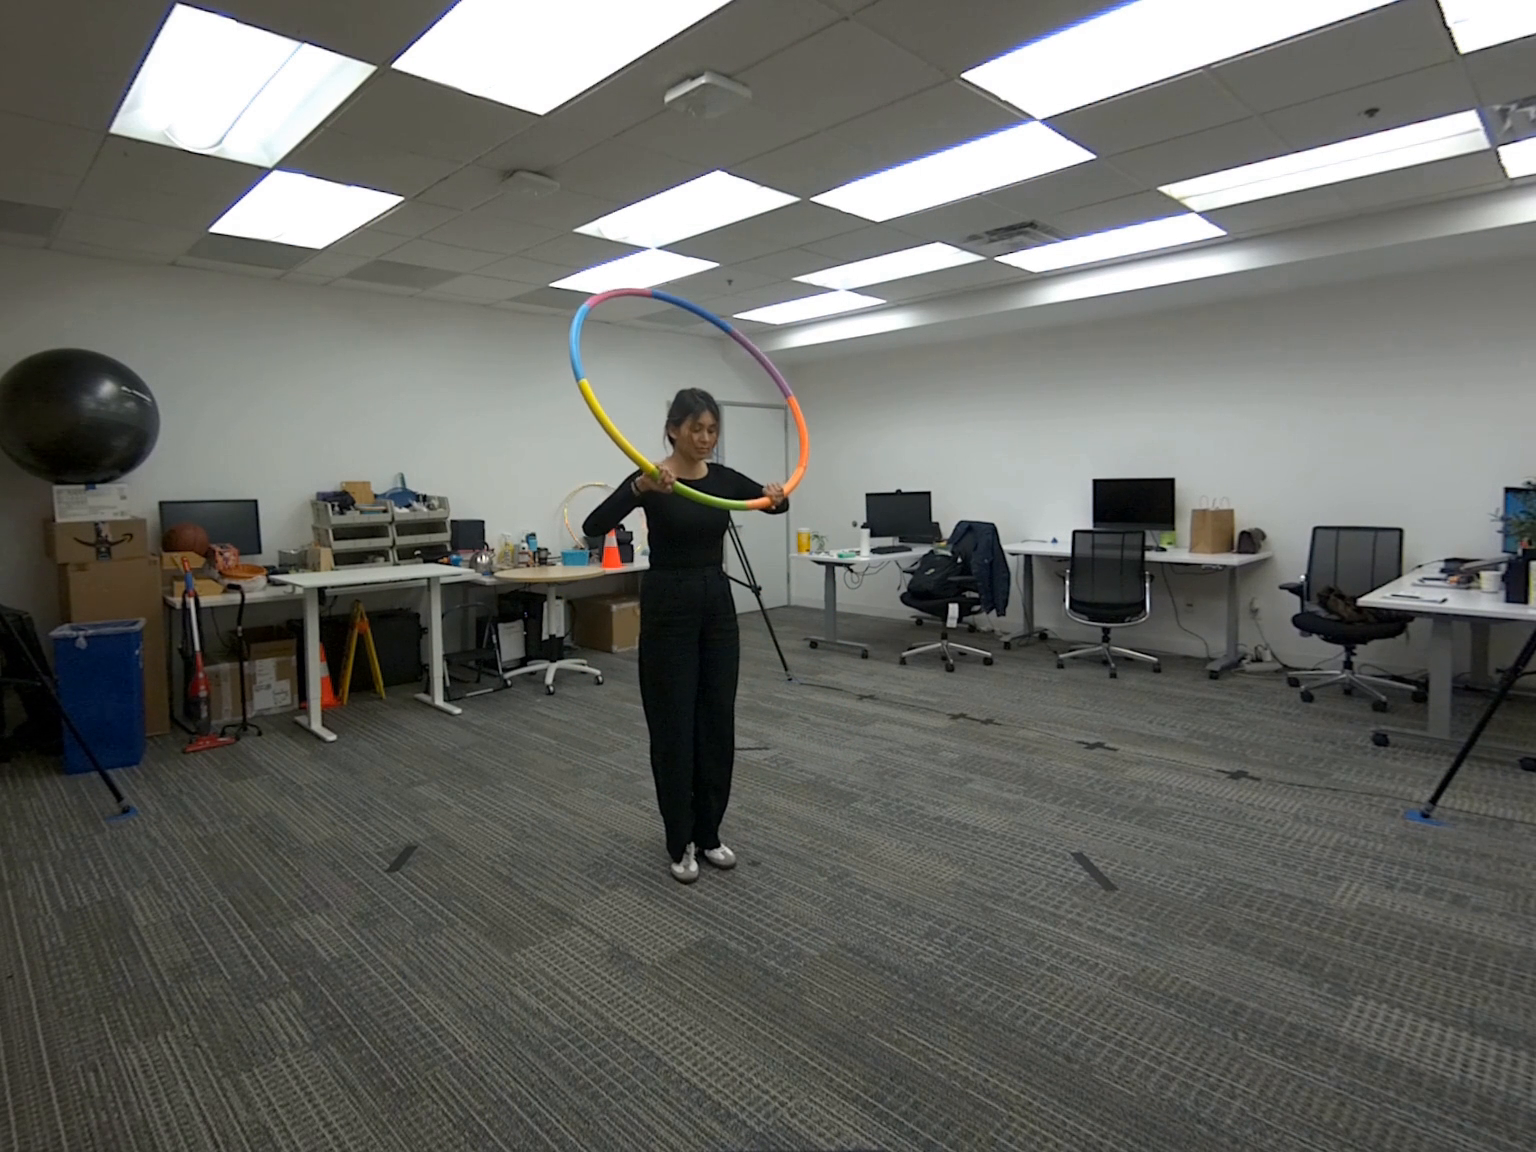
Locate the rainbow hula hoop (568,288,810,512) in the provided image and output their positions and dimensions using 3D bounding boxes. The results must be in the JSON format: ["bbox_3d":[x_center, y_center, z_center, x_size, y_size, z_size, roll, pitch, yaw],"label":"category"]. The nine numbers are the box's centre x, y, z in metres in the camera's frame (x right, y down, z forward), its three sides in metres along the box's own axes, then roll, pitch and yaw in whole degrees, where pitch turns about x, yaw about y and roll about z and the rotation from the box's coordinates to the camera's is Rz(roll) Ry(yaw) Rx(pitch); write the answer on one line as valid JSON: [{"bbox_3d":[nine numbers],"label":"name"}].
[{"bbox_3d":[-0.253,-0.651,3.058,0.953,1.003,0.035,-6,-28,-42],"label":"rainbow hula hoop"}]
